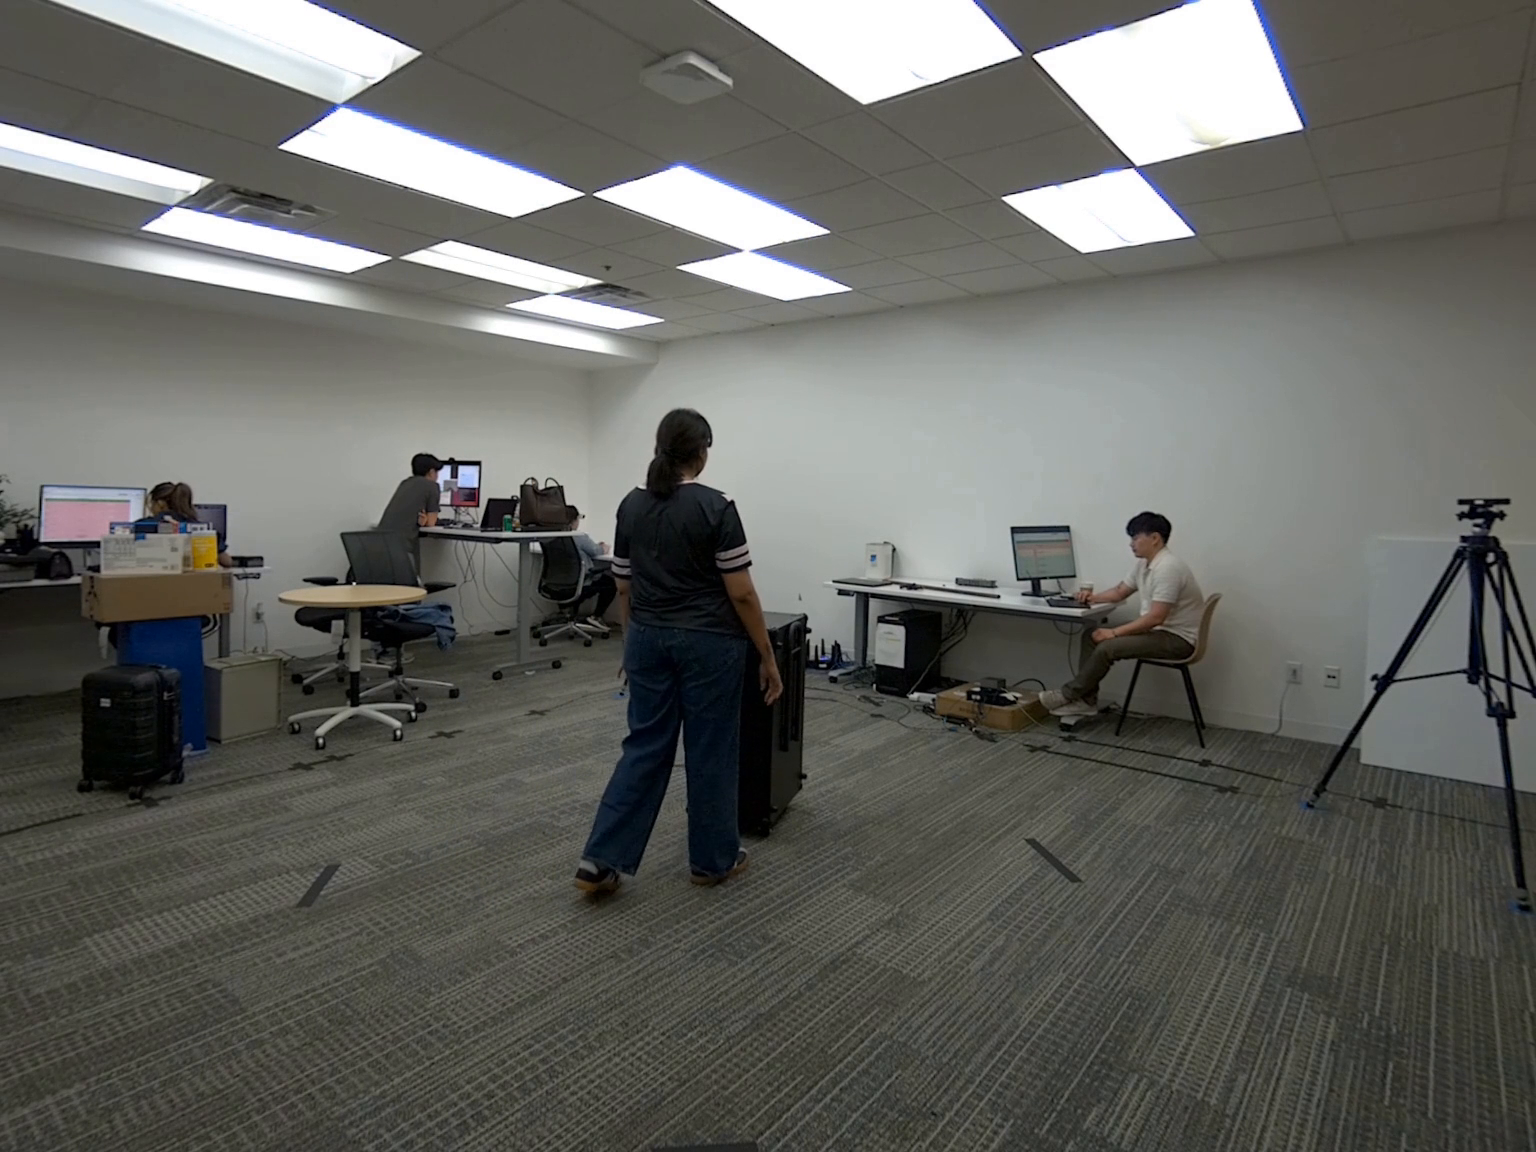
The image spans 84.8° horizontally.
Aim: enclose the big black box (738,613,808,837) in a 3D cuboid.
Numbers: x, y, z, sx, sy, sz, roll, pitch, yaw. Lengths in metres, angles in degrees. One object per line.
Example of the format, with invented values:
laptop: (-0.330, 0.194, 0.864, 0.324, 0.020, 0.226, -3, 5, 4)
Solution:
big black box: (-0.082, 0.603, 3.604, 0.393, 0.865, 0.514, 3, 4, 18)
